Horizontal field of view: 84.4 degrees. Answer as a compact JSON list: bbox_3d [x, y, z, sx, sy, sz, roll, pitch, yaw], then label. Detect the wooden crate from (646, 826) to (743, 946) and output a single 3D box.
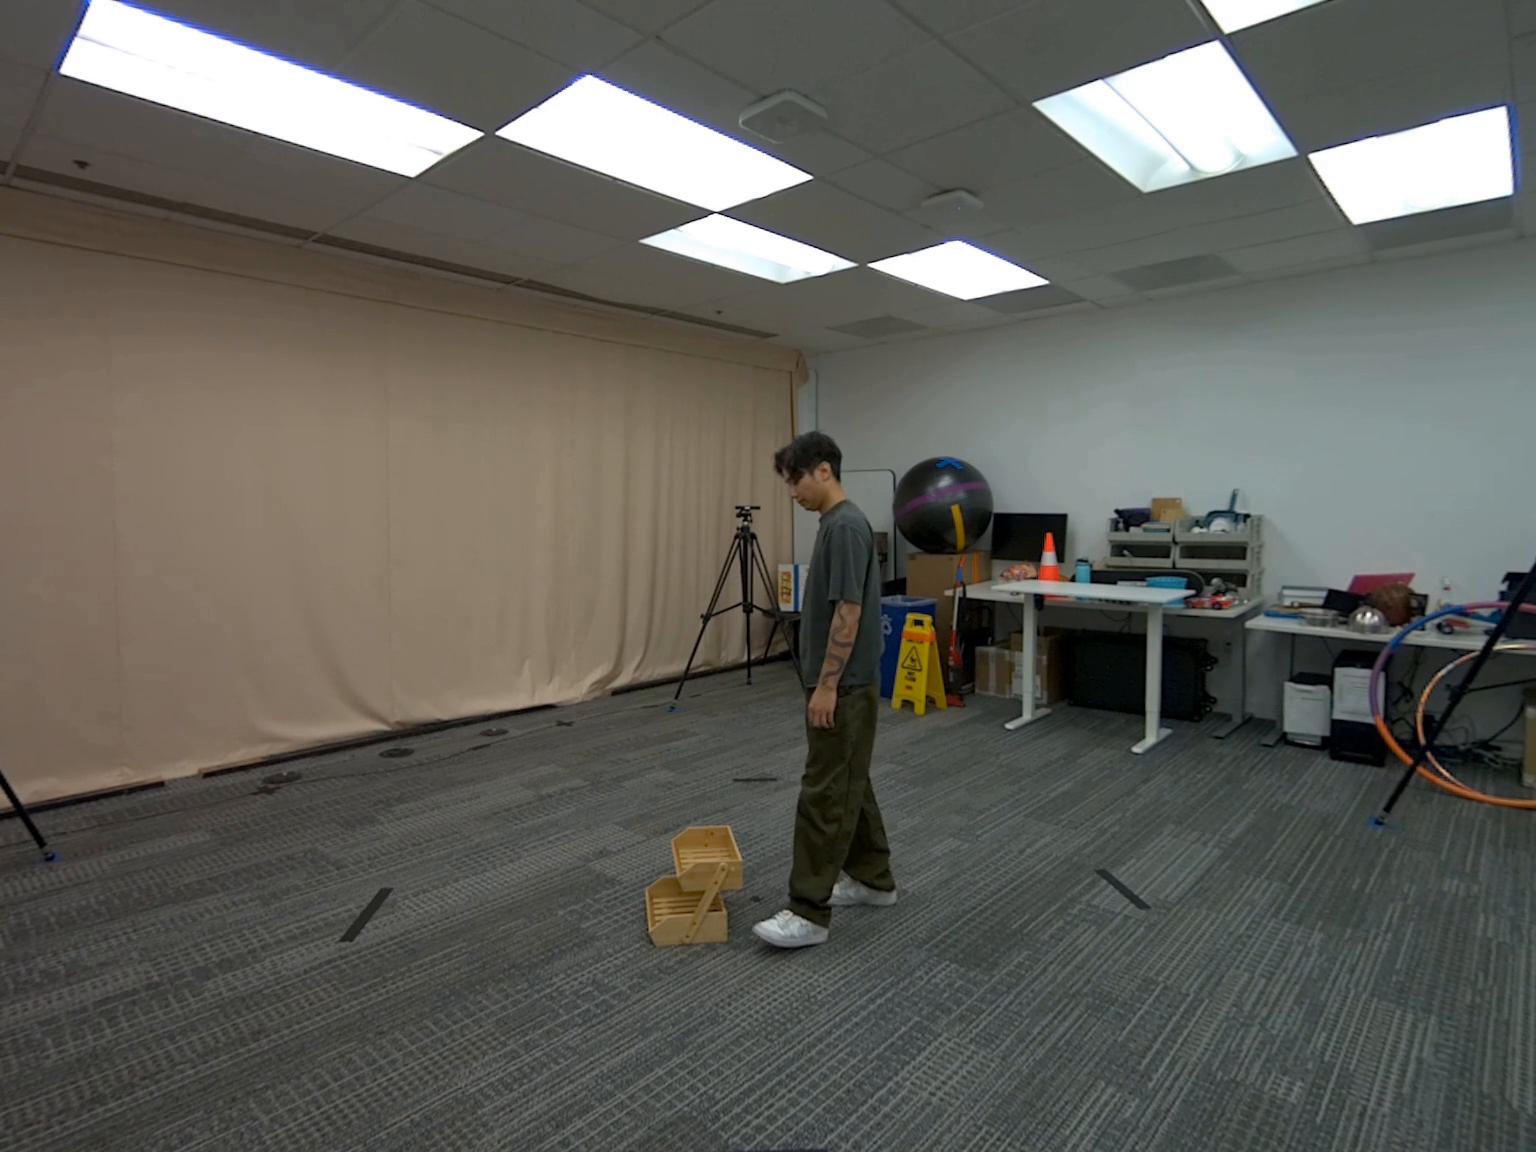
[{"bbox_3d":[-0.257,1.030,2.825,0.299,0.273,0.328,-1,4,-10],"label":"wooden crate"}]
